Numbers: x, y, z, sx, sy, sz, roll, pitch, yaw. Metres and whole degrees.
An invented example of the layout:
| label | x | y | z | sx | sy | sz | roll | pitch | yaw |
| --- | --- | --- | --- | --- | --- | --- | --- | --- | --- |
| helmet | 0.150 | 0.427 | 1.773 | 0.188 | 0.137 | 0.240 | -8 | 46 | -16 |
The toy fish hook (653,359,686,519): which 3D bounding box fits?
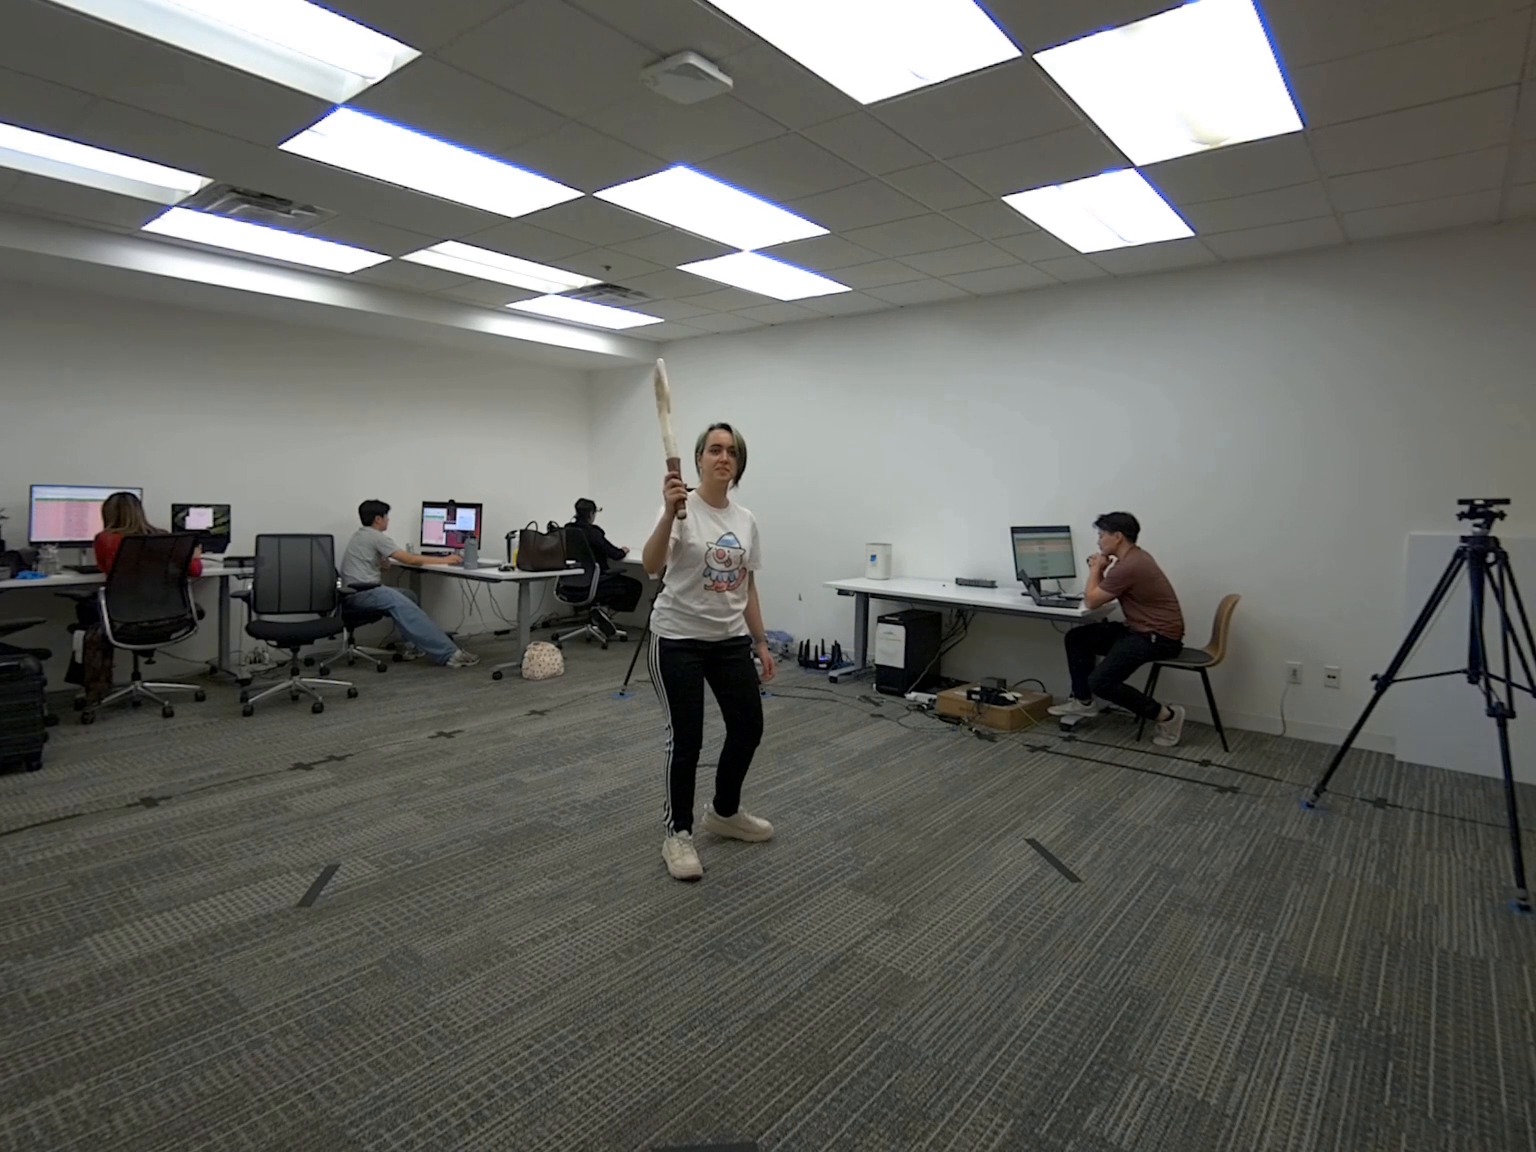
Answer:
| label | x | y | z | sx | sy | sz | roll | pitch | yaw |
| --- | --- | --- | --- | --- | --- | --- | --- | --- | --- |
| toy fish hook | -0.311 | -0.428 | 2.692 | 0.048 | 0.511 | 0.224 | -9 | -7 | -10 |
